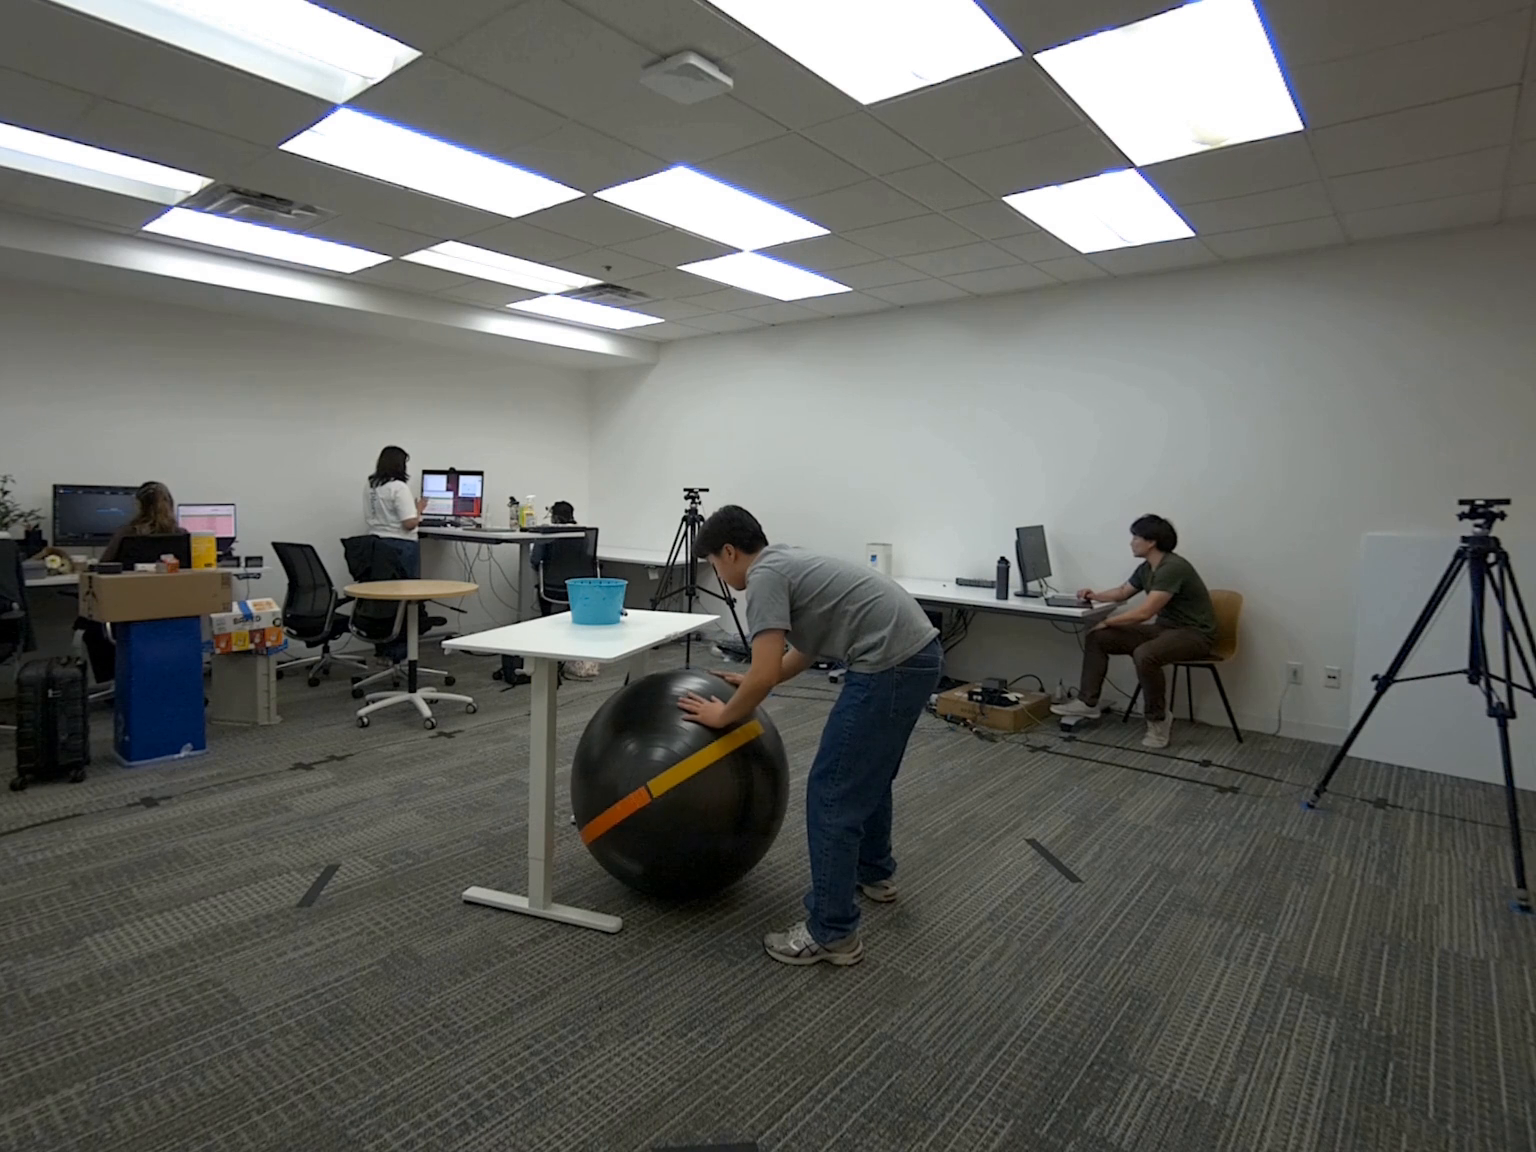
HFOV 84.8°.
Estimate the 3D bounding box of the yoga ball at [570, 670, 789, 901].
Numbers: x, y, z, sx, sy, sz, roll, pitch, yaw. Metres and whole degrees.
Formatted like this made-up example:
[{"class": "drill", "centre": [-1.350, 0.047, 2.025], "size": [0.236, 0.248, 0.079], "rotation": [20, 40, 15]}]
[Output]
[{"class": "yoga ball", "centre": [-0.320, 0.715, 2.957], "size": [0.757, 0.755, 0.762], "rotation": [1, 4, -2]}]
